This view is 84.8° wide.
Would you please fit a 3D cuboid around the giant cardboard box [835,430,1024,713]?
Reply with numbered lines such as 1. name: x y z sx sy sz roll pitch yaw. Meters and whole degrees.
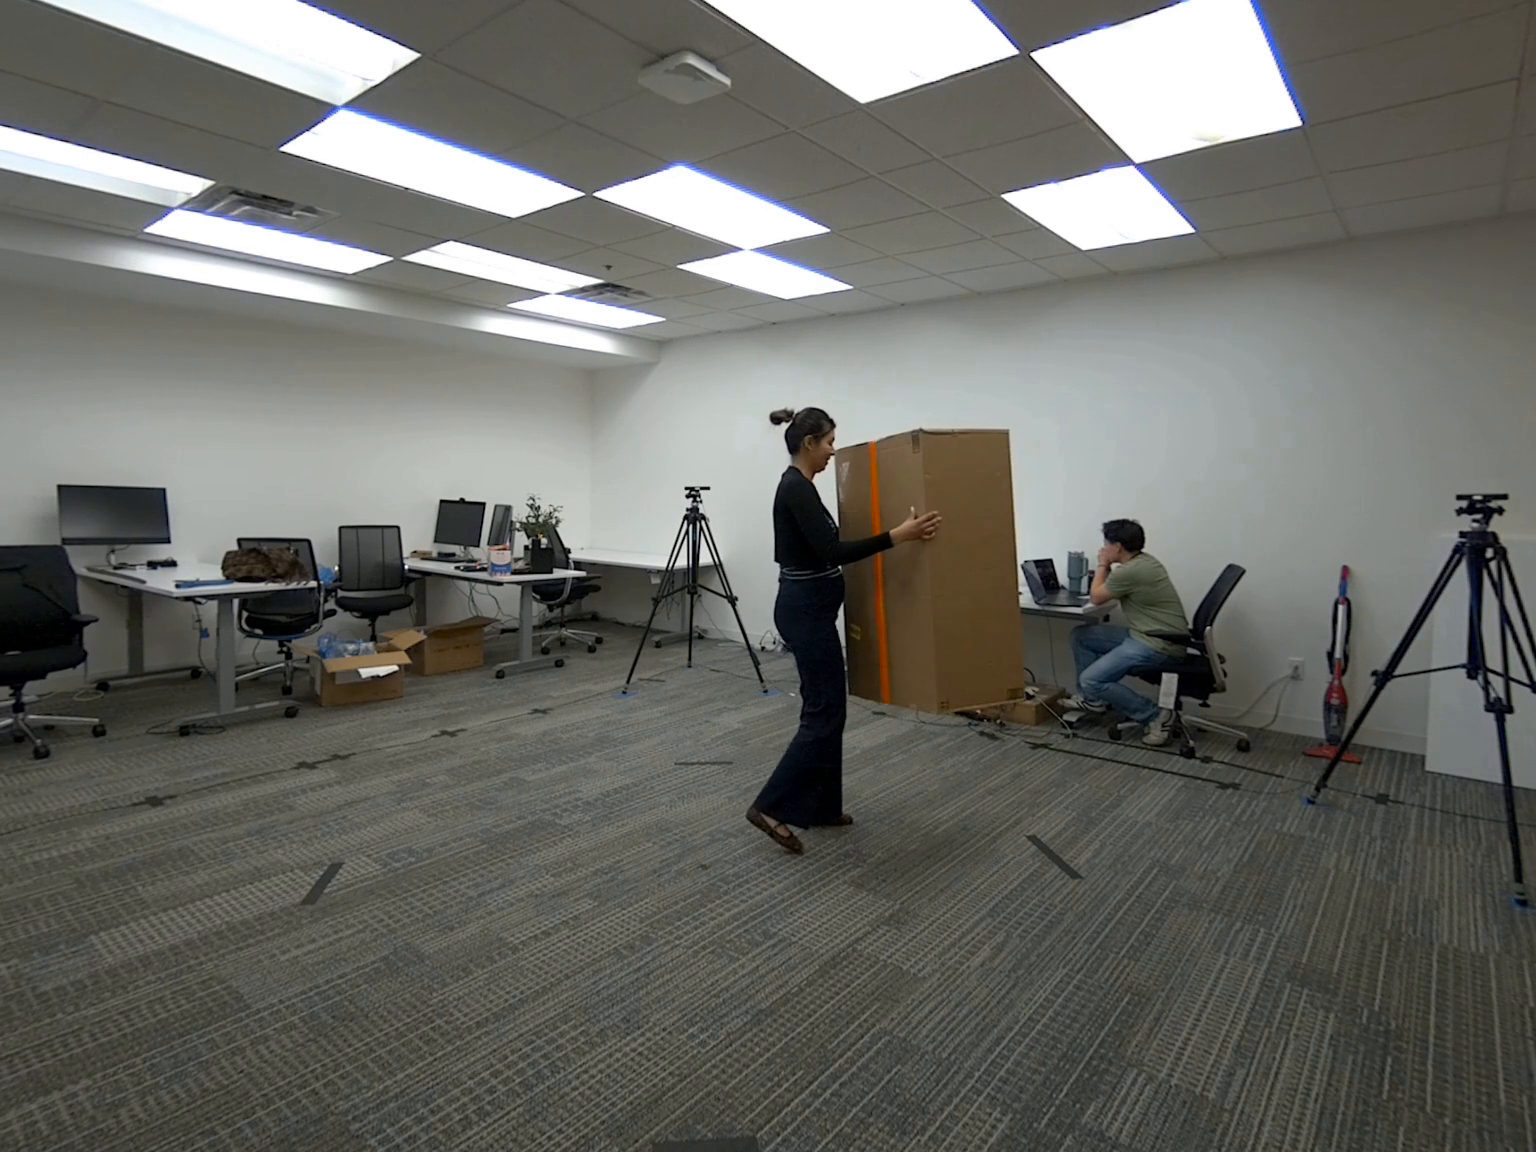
1. giant cardboard box: 0.615 -0.030 3.373 0.416 1.027 0.591 -3 -1 -27
